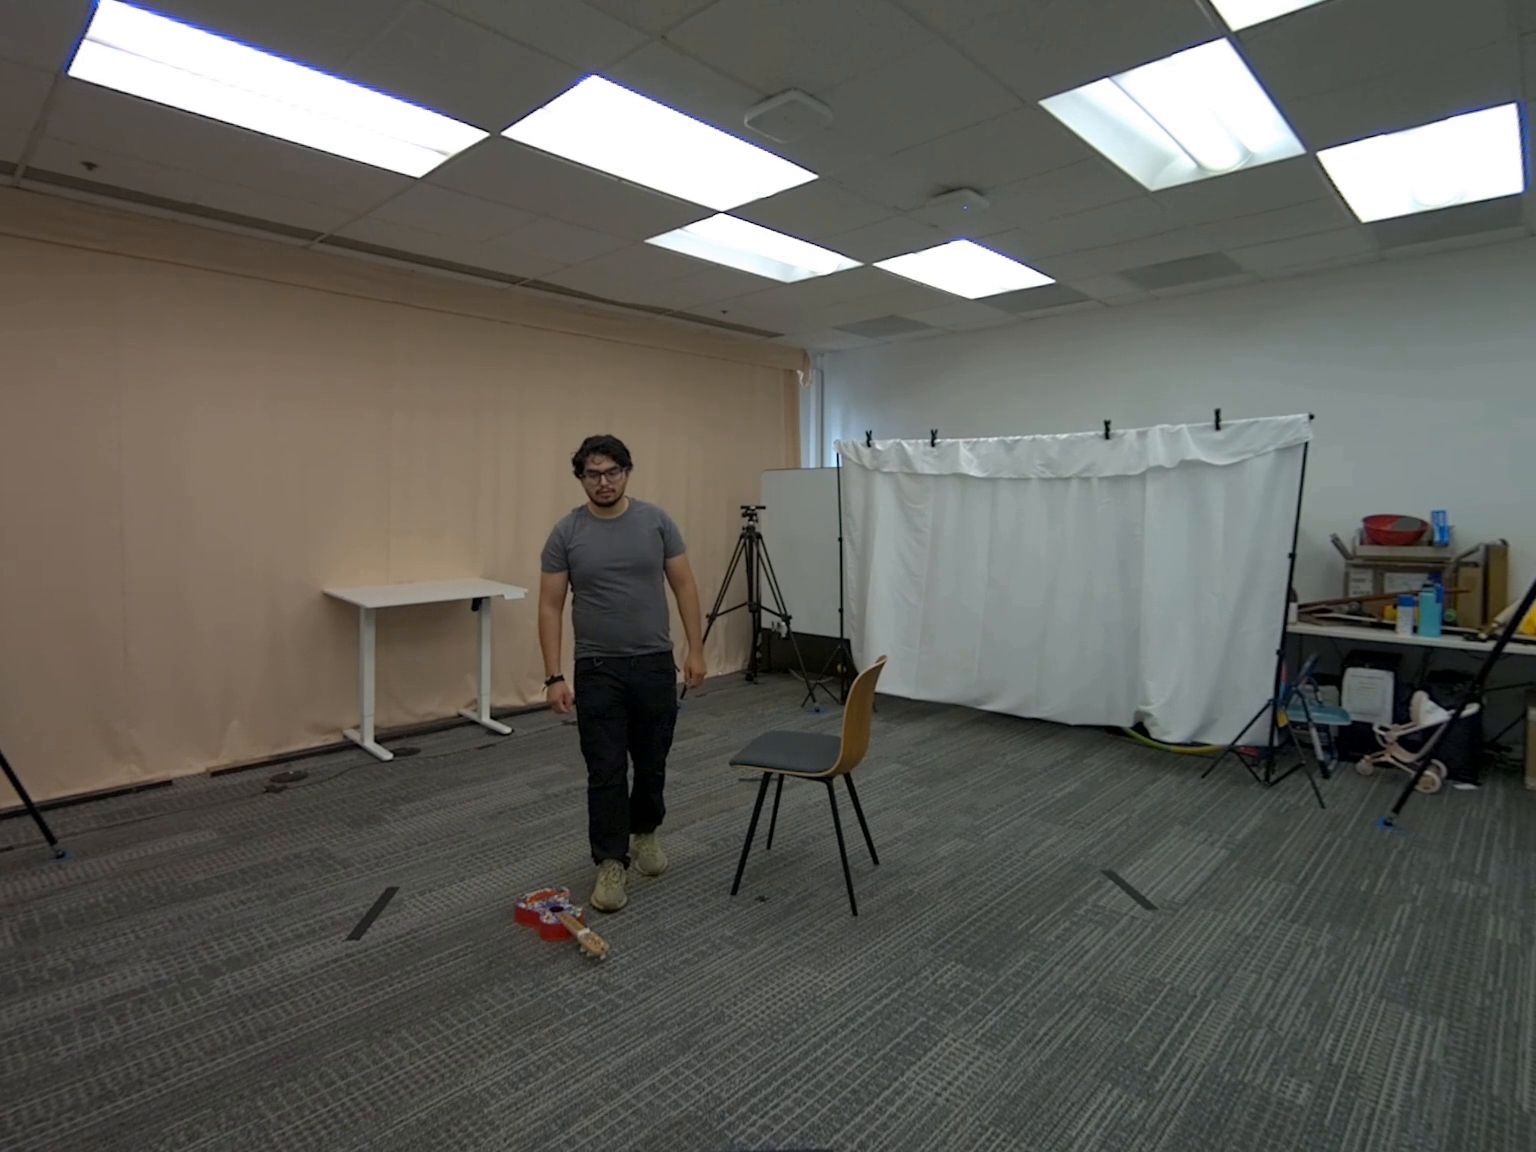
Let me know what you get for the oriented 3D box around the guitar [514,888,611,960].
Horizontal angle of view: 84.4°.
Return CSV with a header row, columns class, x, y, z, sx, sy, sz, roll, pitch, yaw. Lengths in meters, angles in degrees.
class,x,y,z,sx,sy,sz,roll,pitch,yaw
guitar,-0.677,1.137,2.718,0.188,0.070,0.512,-2,5,-29
